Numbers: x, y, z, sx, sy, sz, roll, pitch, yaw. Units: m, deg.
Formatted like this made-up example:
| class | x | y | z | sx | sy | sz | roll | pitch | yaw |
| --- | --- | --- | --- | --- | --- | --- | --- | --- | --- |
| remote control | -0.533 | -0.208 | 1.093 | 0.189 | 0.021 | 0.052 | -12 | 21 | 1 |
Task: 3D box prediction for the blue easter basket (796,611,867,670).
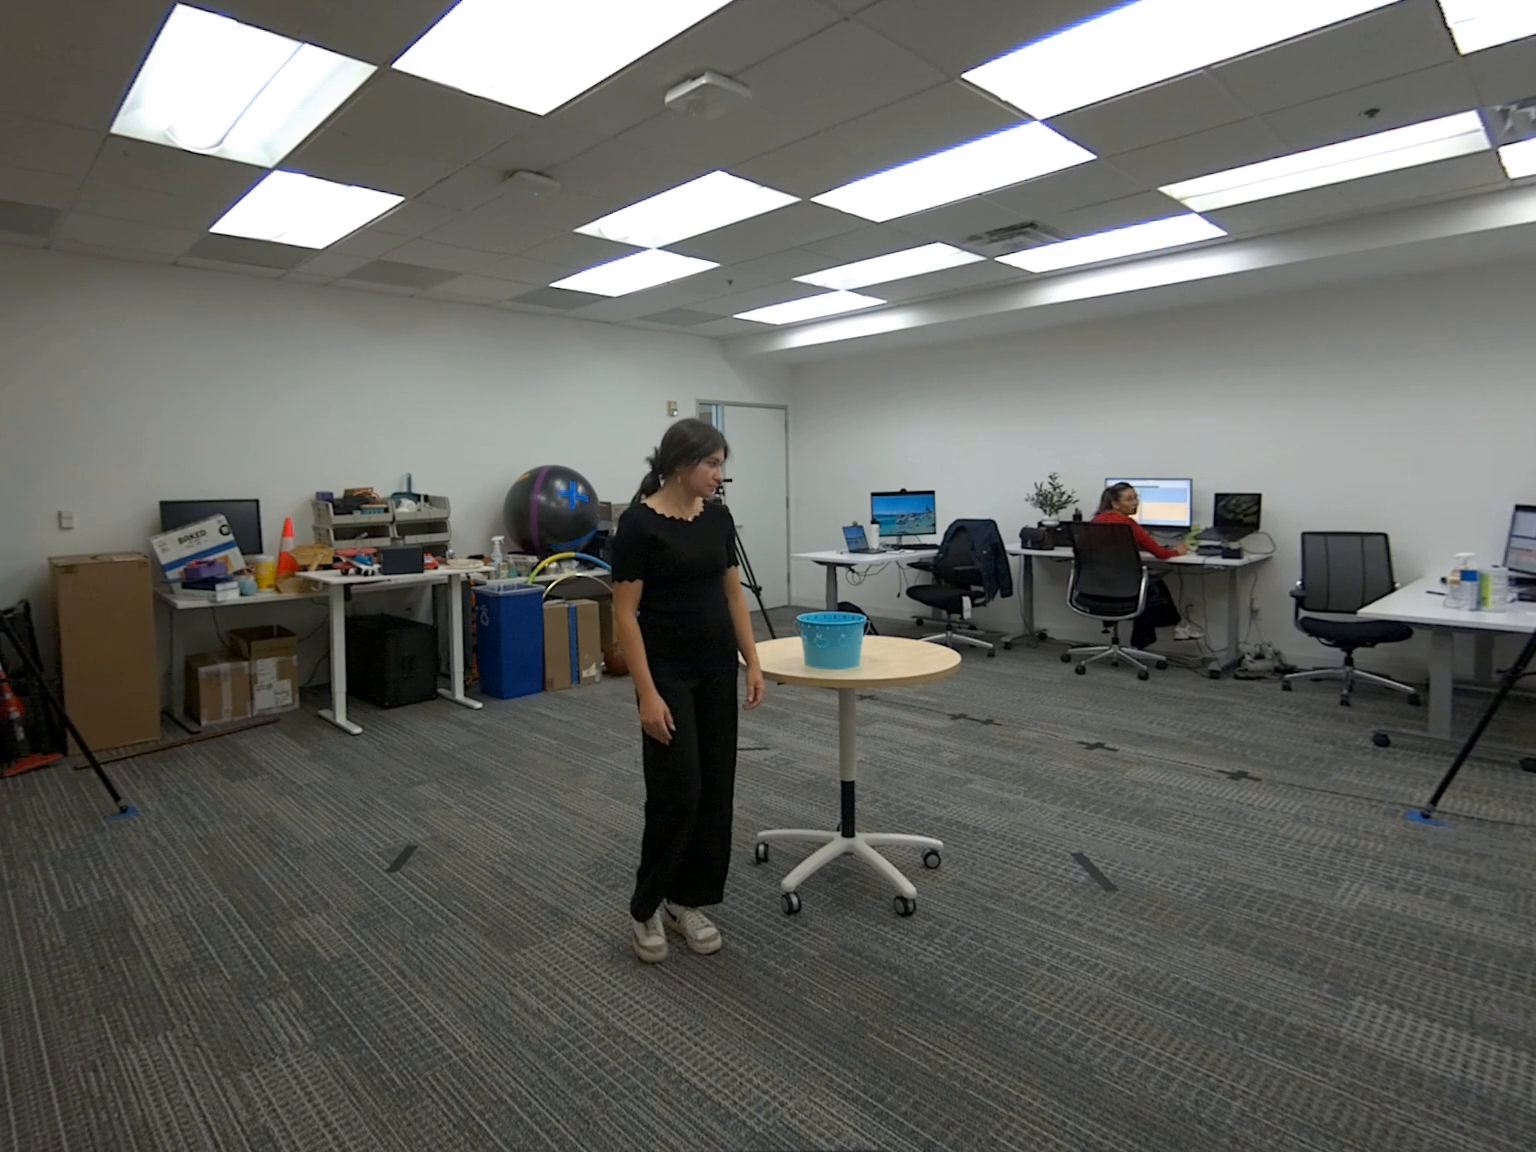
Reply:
| class | x | y | z | sx | sy | sz | roll | pitch | yaw |
| --- | --- | --- | --- | --- | --- | --- | --- | --- | --- |
| blue easter basket | 0.222 | 0.215 | 2.819 | 0.243 | 0.155 | 0.245 | -2 | 6 | -1 |
